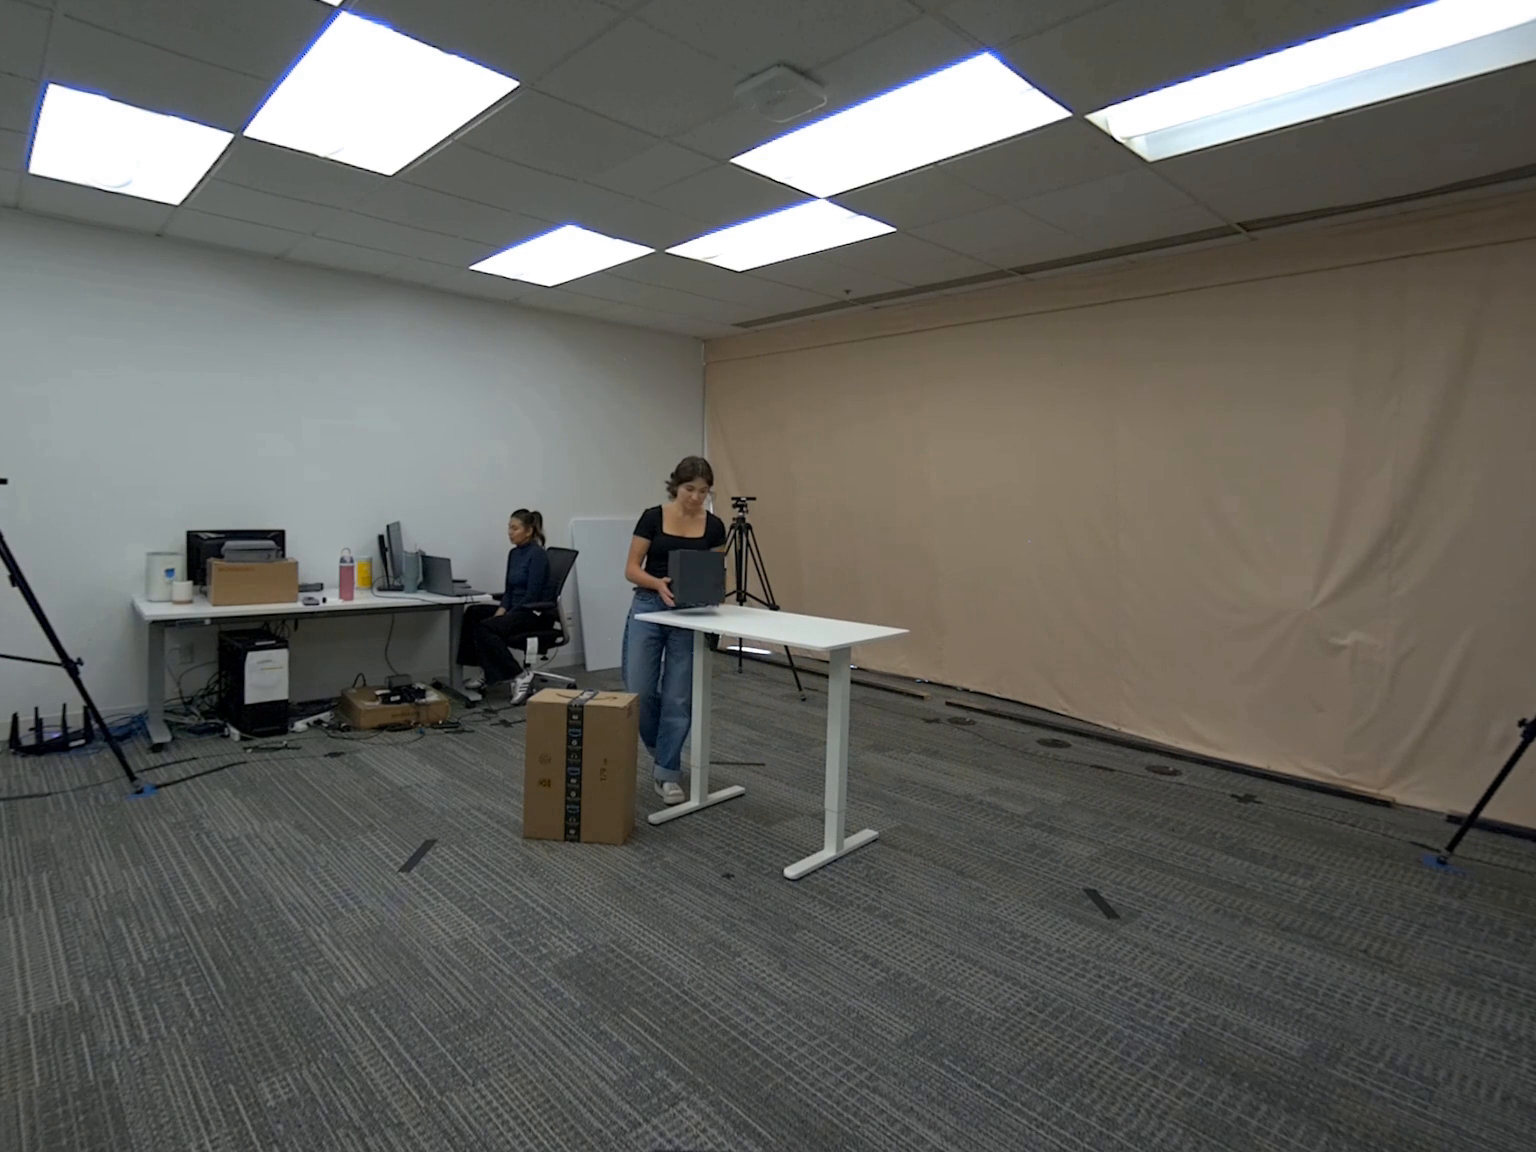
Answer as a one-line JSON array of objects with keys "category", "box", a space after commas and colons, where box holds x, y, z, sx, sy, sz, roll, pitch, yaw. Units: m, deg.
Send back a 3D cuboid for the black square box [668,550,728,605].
[{"category": "black square box", "box": [-0.314, 0.005, 3.677, 0.213, 0.228, 0.159, 2, -2, -27]}]
